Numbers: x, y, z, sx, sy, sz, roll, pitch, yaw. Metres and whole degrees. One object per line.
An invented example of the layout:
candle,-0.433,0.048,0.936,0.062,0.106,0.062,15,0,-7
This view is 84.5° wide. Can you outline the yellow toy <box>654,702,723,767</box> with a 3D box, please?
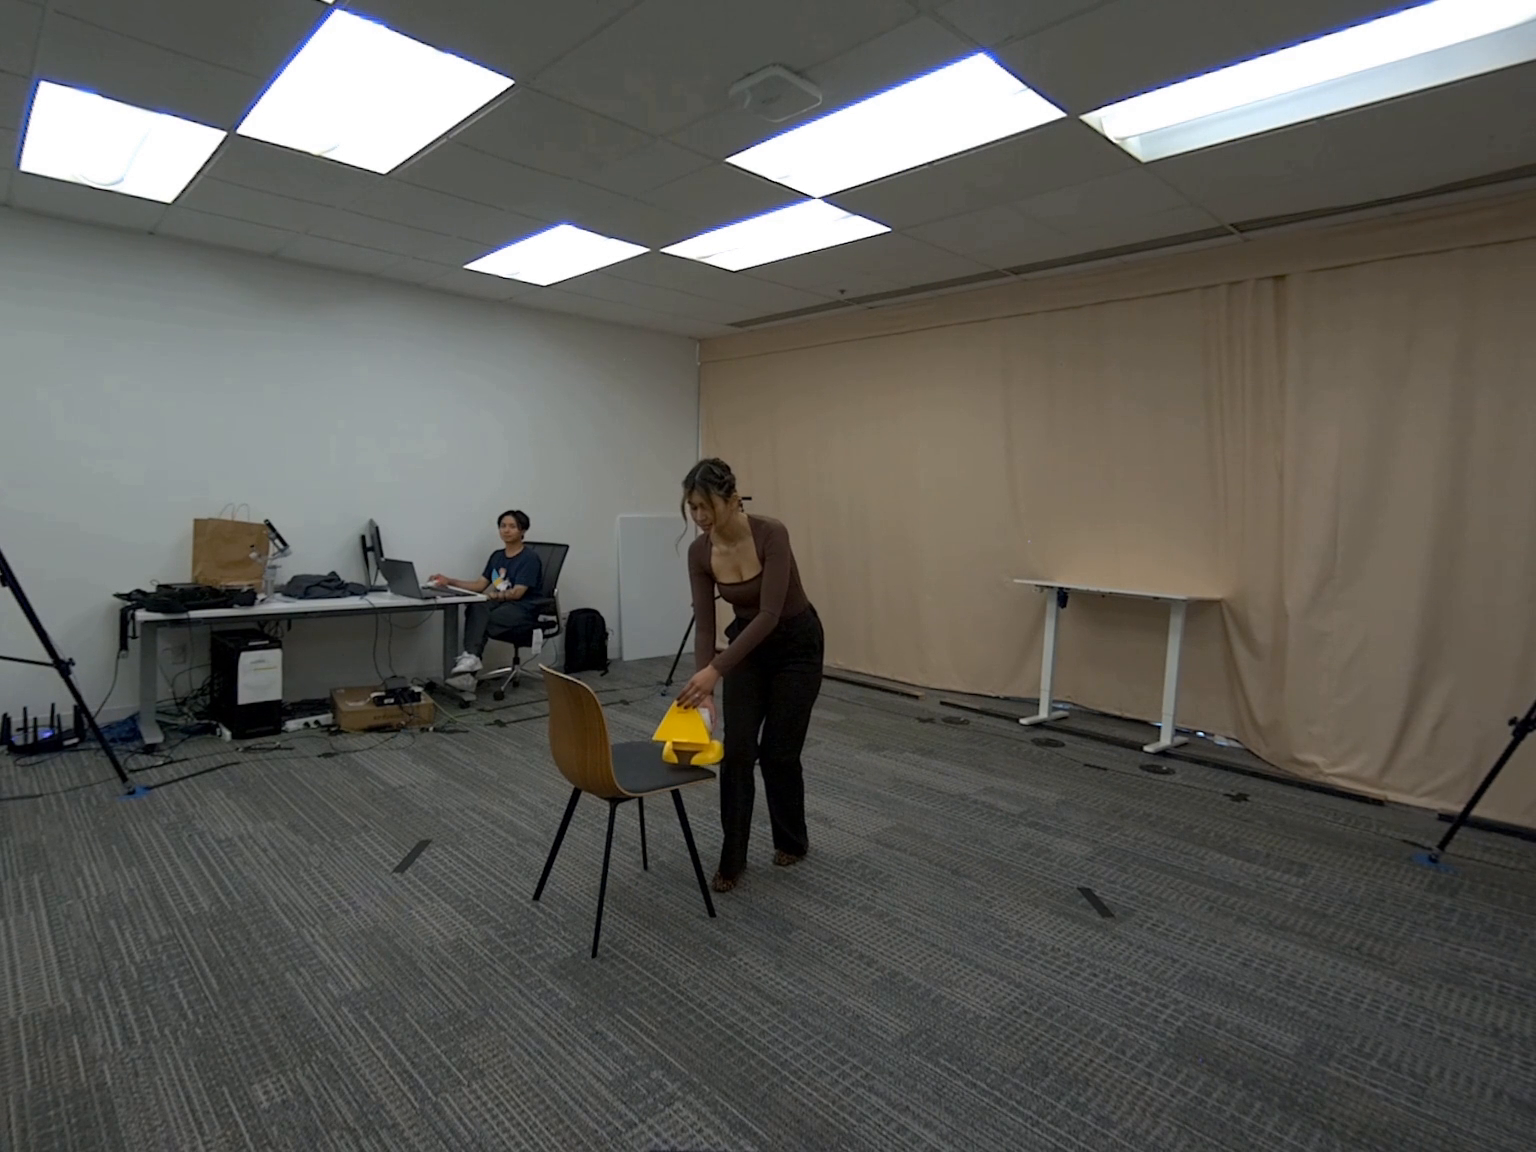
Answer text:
yellow toy,-0.260,0.494,2.796,0.208,0.230,0.191,0,4,20
